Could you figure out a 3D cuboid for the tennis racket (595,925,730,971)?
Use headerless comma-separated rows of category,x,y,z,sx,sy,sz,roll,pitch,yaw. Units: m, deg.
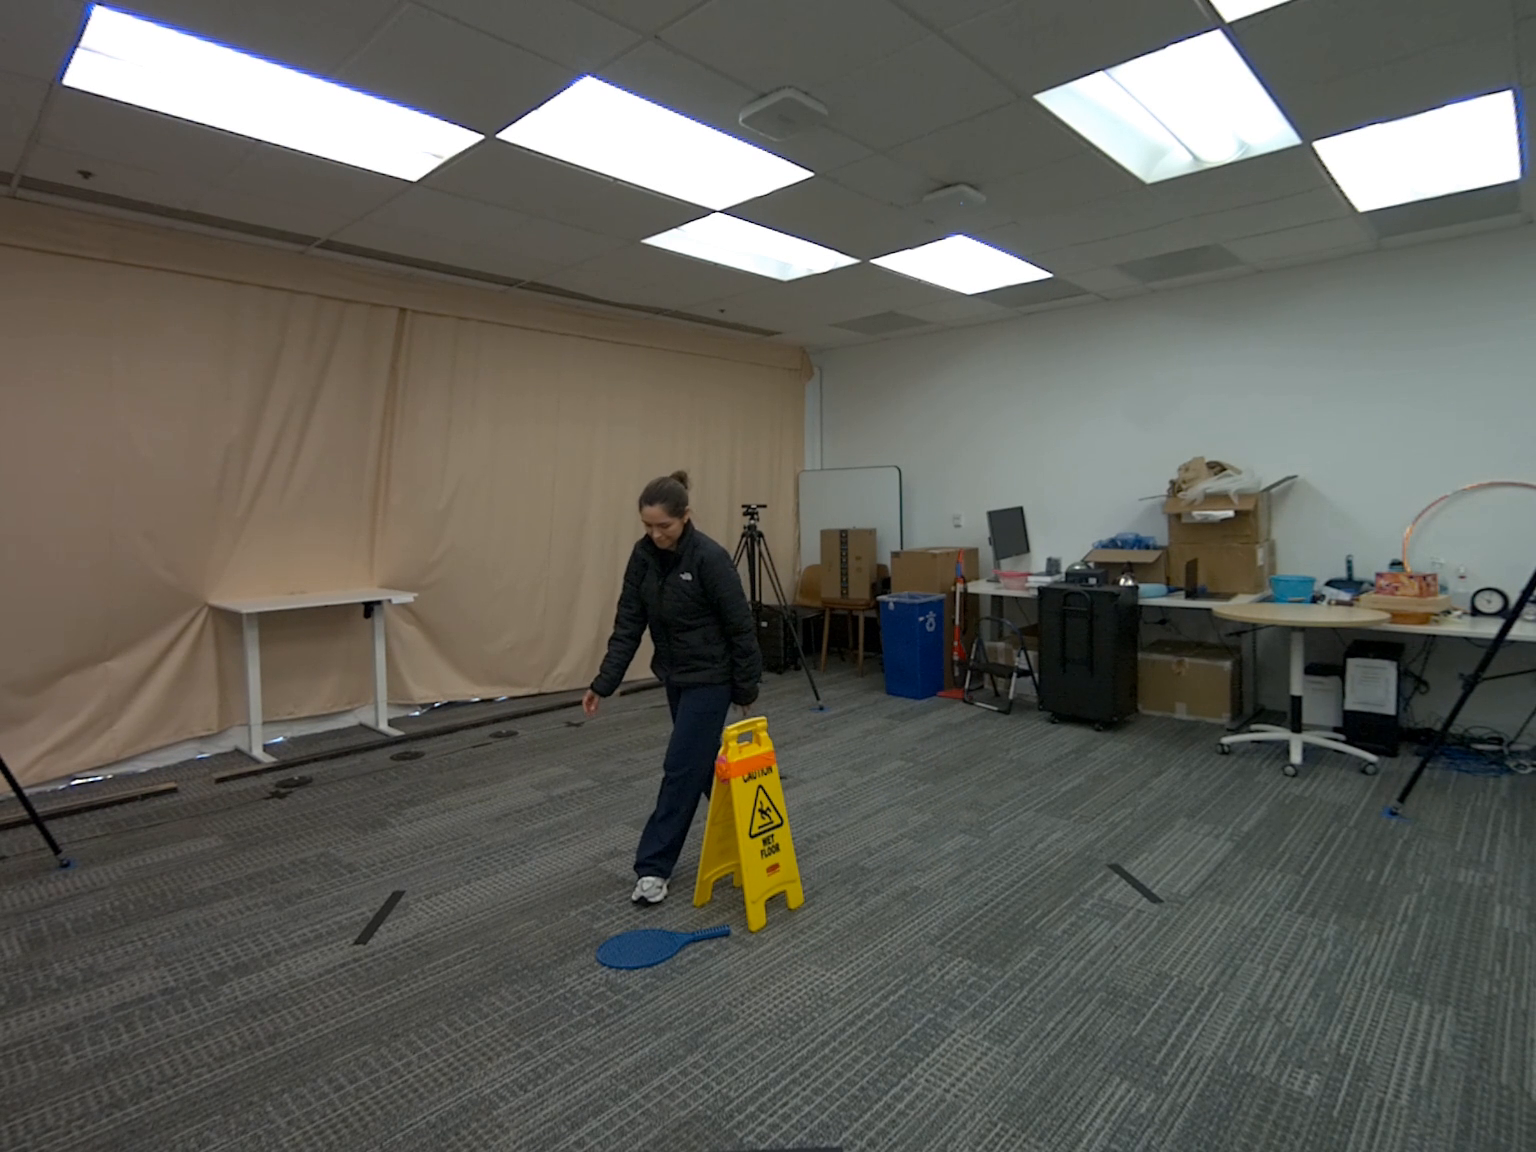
tennis racket,-0.316,1.145,2.668,0.426,0.031,0.218,-4,7,-16
